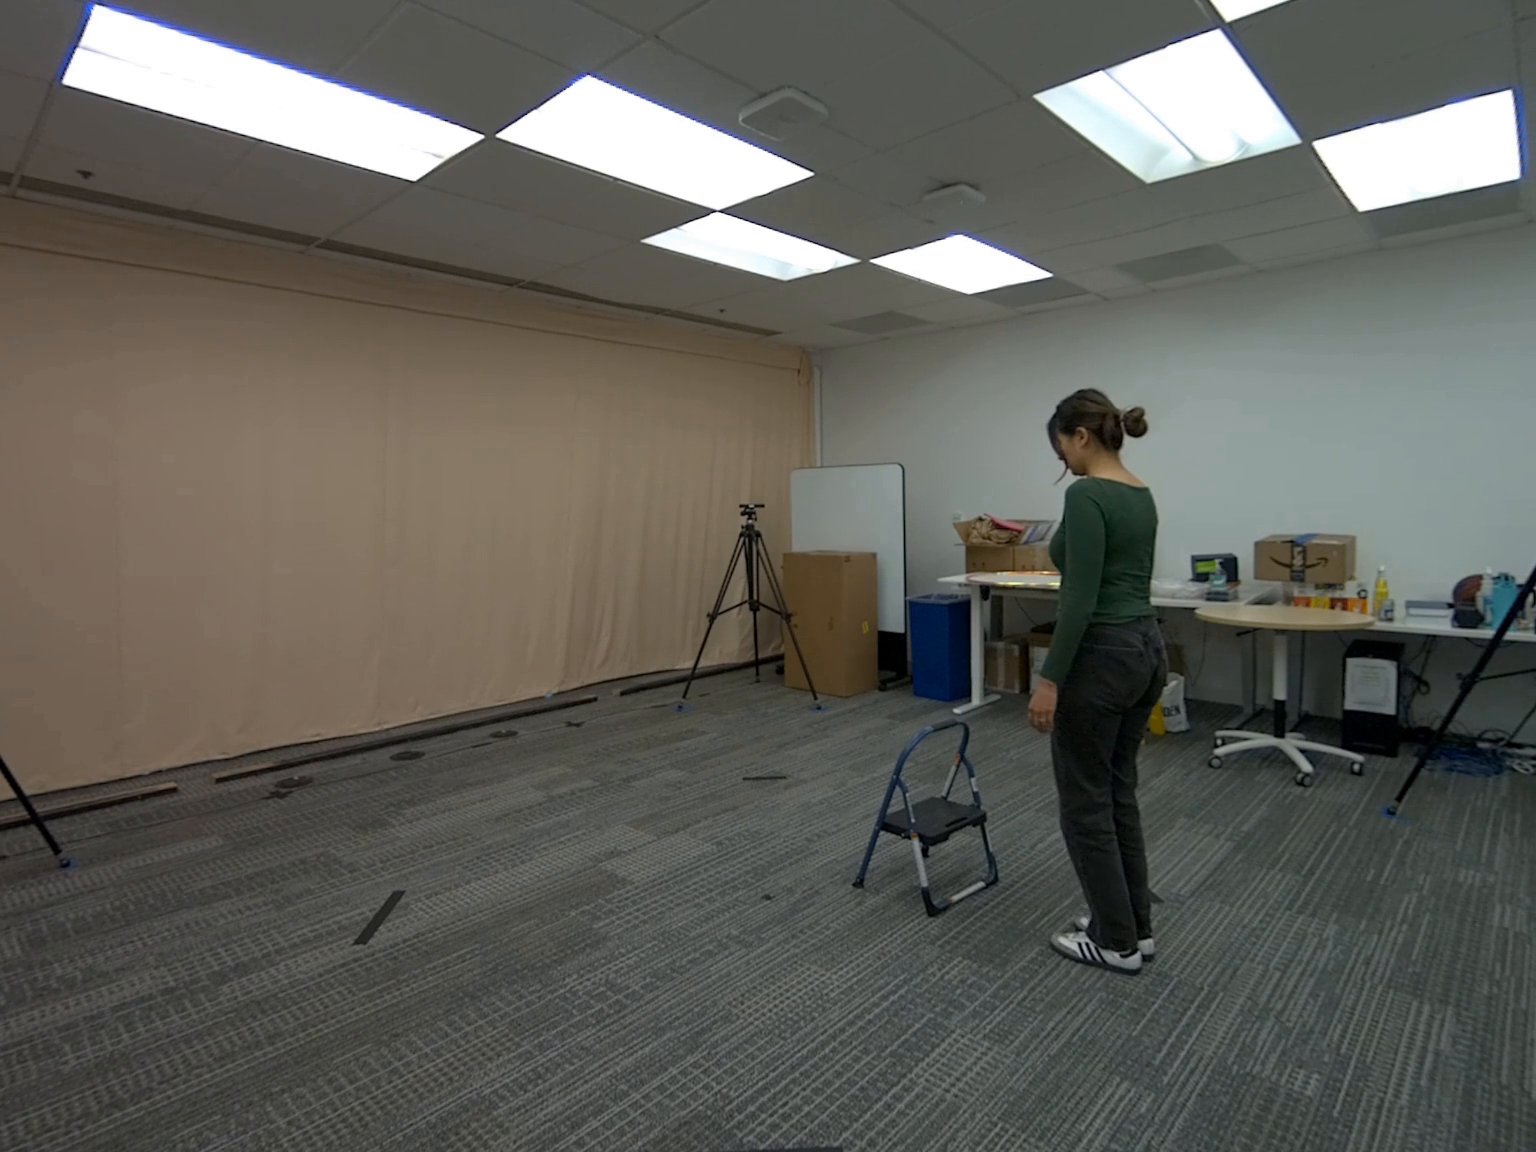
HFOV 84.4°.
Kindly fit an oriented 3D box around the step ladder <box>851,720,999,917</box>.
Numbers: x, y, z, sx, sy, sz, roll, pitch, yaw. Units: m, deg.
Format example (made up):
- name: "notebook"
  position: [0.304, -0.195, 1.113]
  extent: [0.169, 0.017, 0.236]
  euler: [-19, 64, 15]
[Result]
- name: "step ladder"
  position: [0.579, 0.818, 3.052]
  extent: [0.417, 0.604, 0.361]
  euler: [-4, 5, -43]
